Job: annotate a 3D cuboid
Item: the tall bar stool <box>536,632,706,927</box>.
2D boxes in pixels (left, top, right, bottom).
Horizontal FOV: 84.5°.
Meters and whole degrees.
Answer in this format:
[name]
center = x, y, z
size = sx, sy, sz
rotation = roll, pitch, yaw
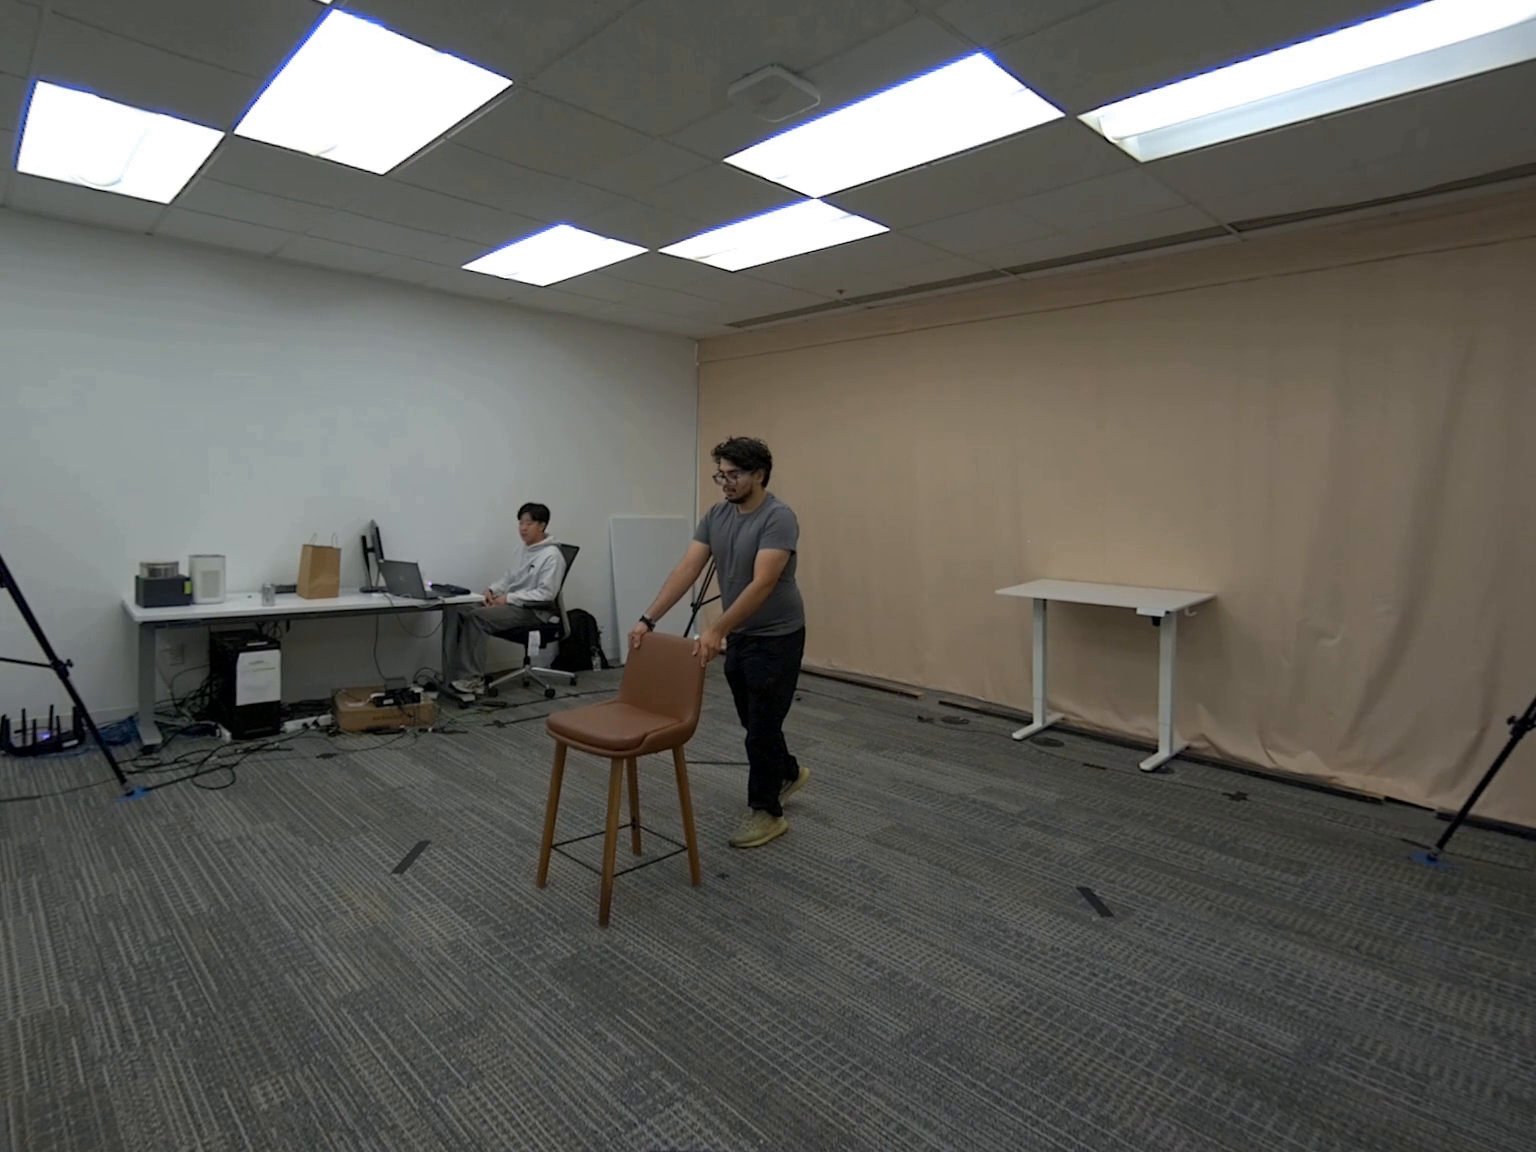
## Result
[tall bar stool]
center = -0.514, 0.673, 2.985
size = 0.468, 0.889, 0.456
rotation = 4, 2, 45
